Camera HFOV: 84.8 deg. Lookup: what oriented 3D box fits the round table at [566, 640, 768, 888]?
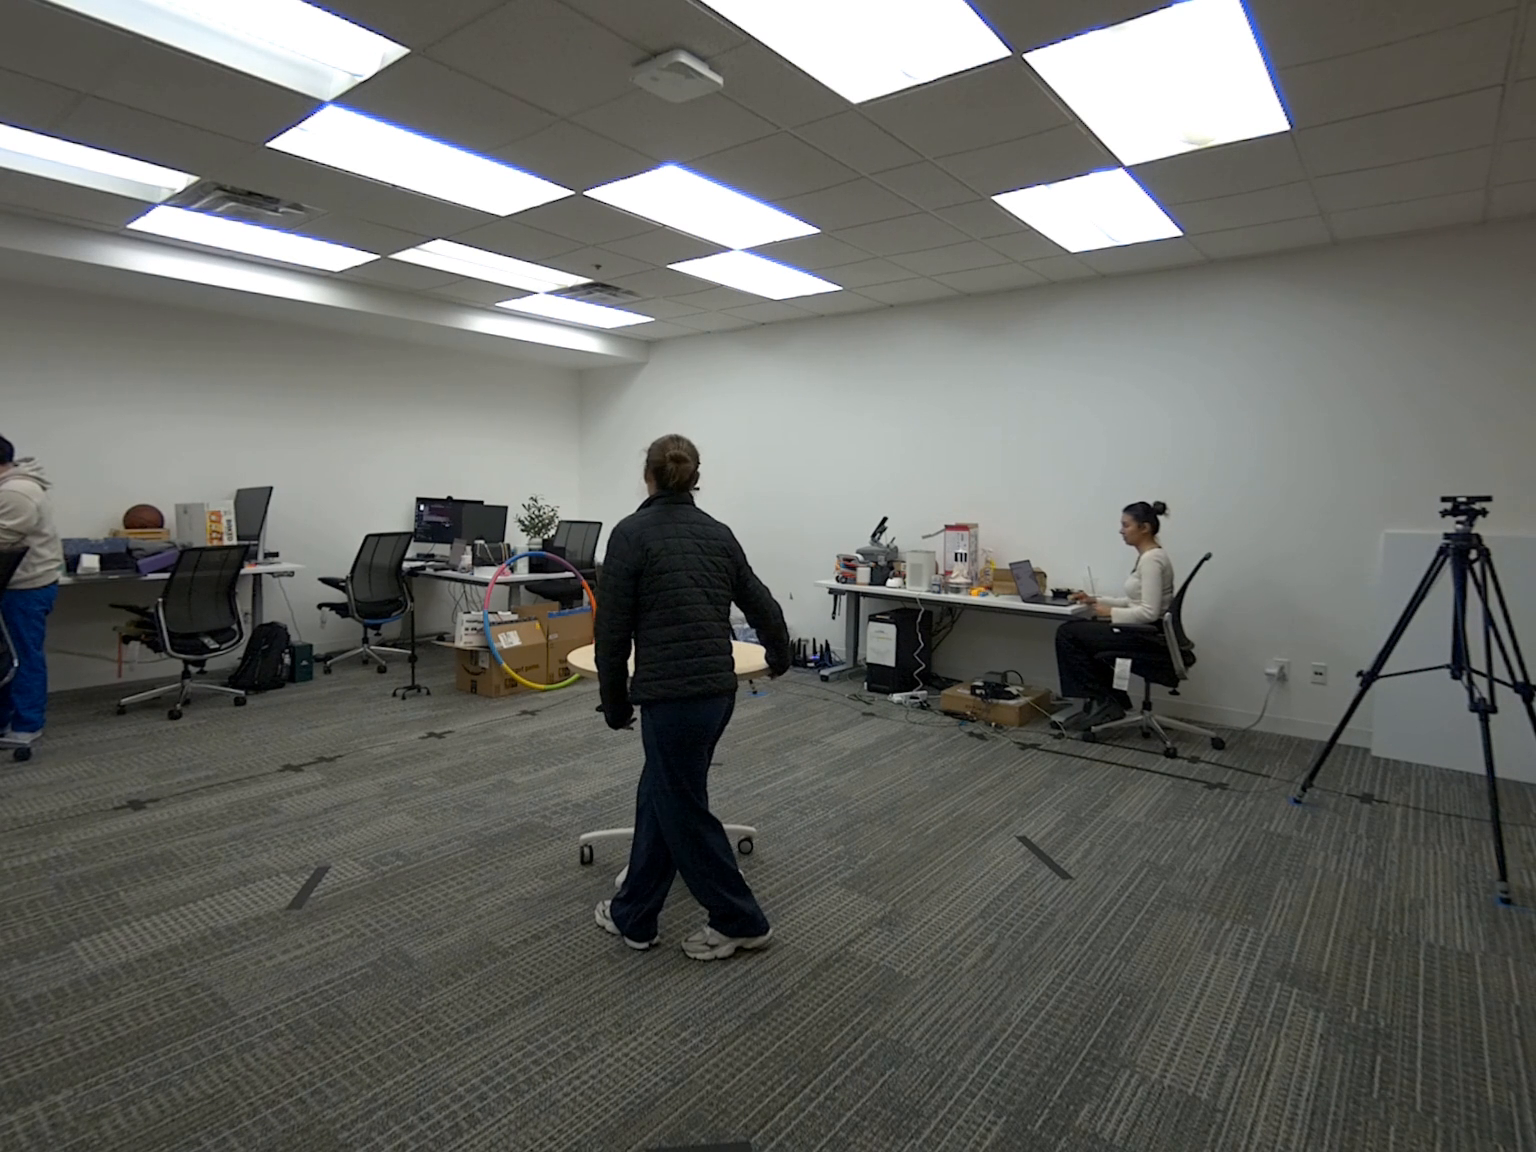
[{"bbox_3d":[-0.331,0.667,3.117,0.784,0.784,0.789,1,4,-2],"label":"round table"}]
